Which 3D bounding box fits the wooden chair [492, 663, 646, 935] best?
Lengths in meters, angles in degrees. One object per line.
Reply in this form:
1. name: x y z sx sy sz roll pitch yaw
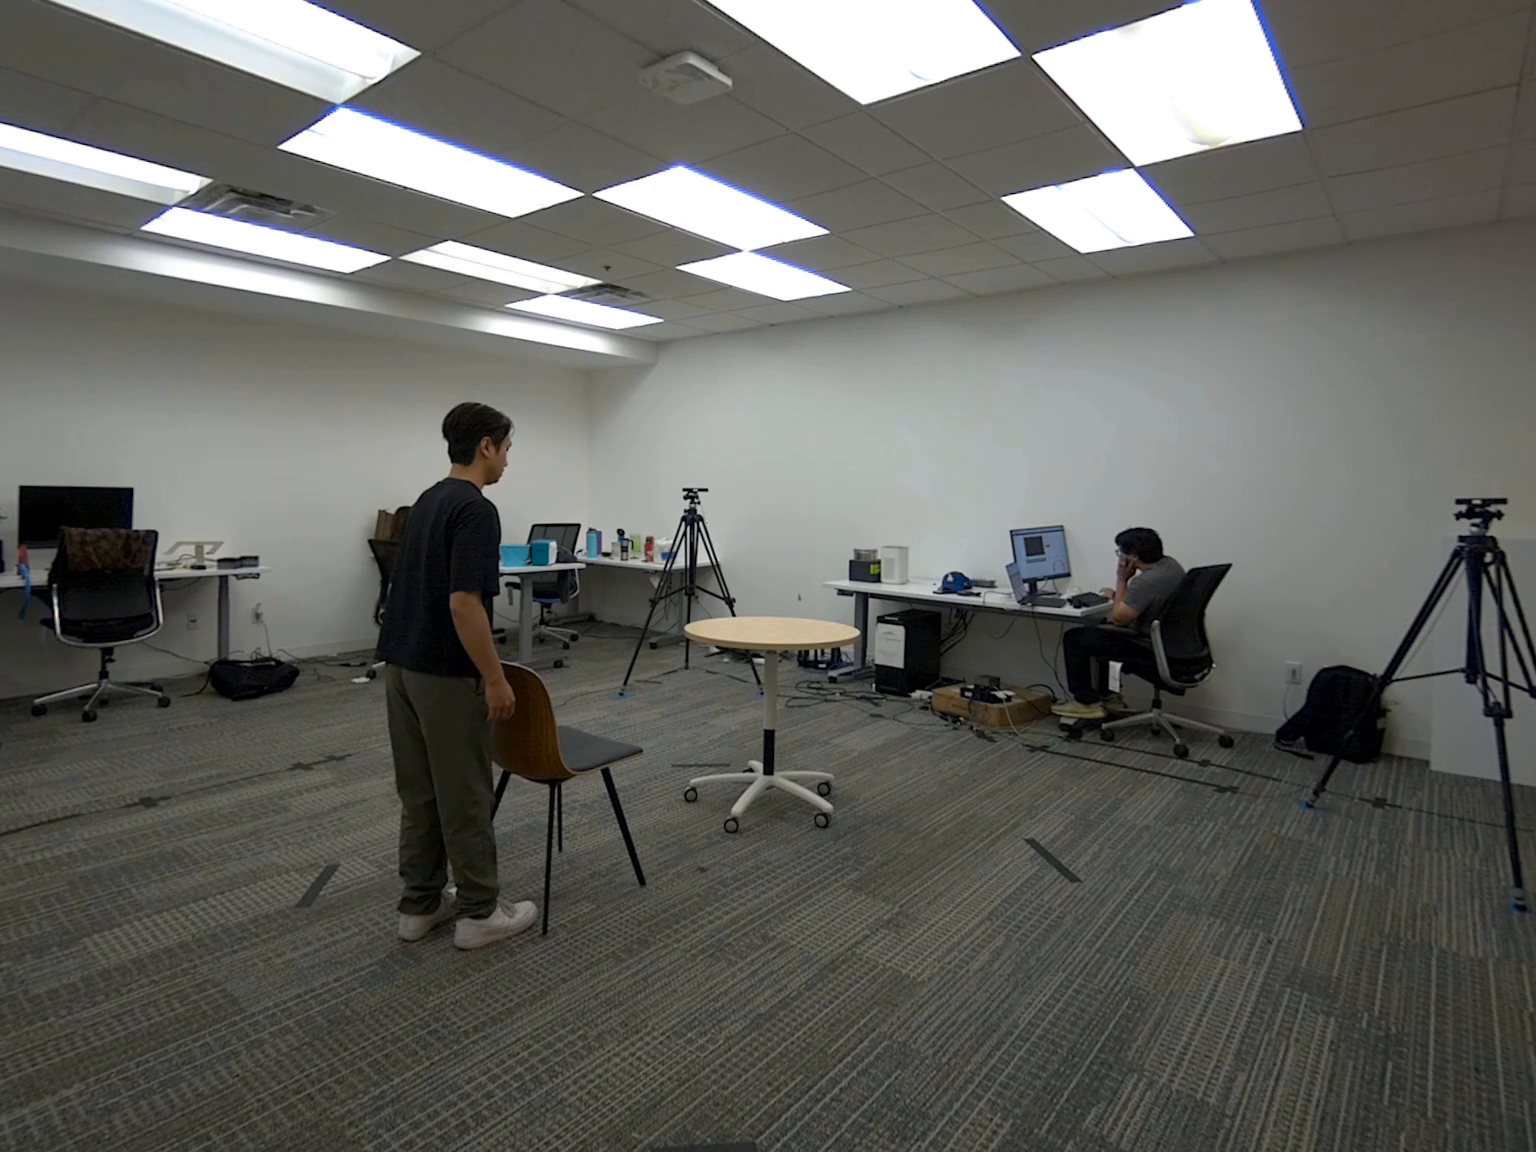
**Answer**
1. wooden chair: -0.735 0.649 2.919 0.493 0.872 0.510 3 8 37
